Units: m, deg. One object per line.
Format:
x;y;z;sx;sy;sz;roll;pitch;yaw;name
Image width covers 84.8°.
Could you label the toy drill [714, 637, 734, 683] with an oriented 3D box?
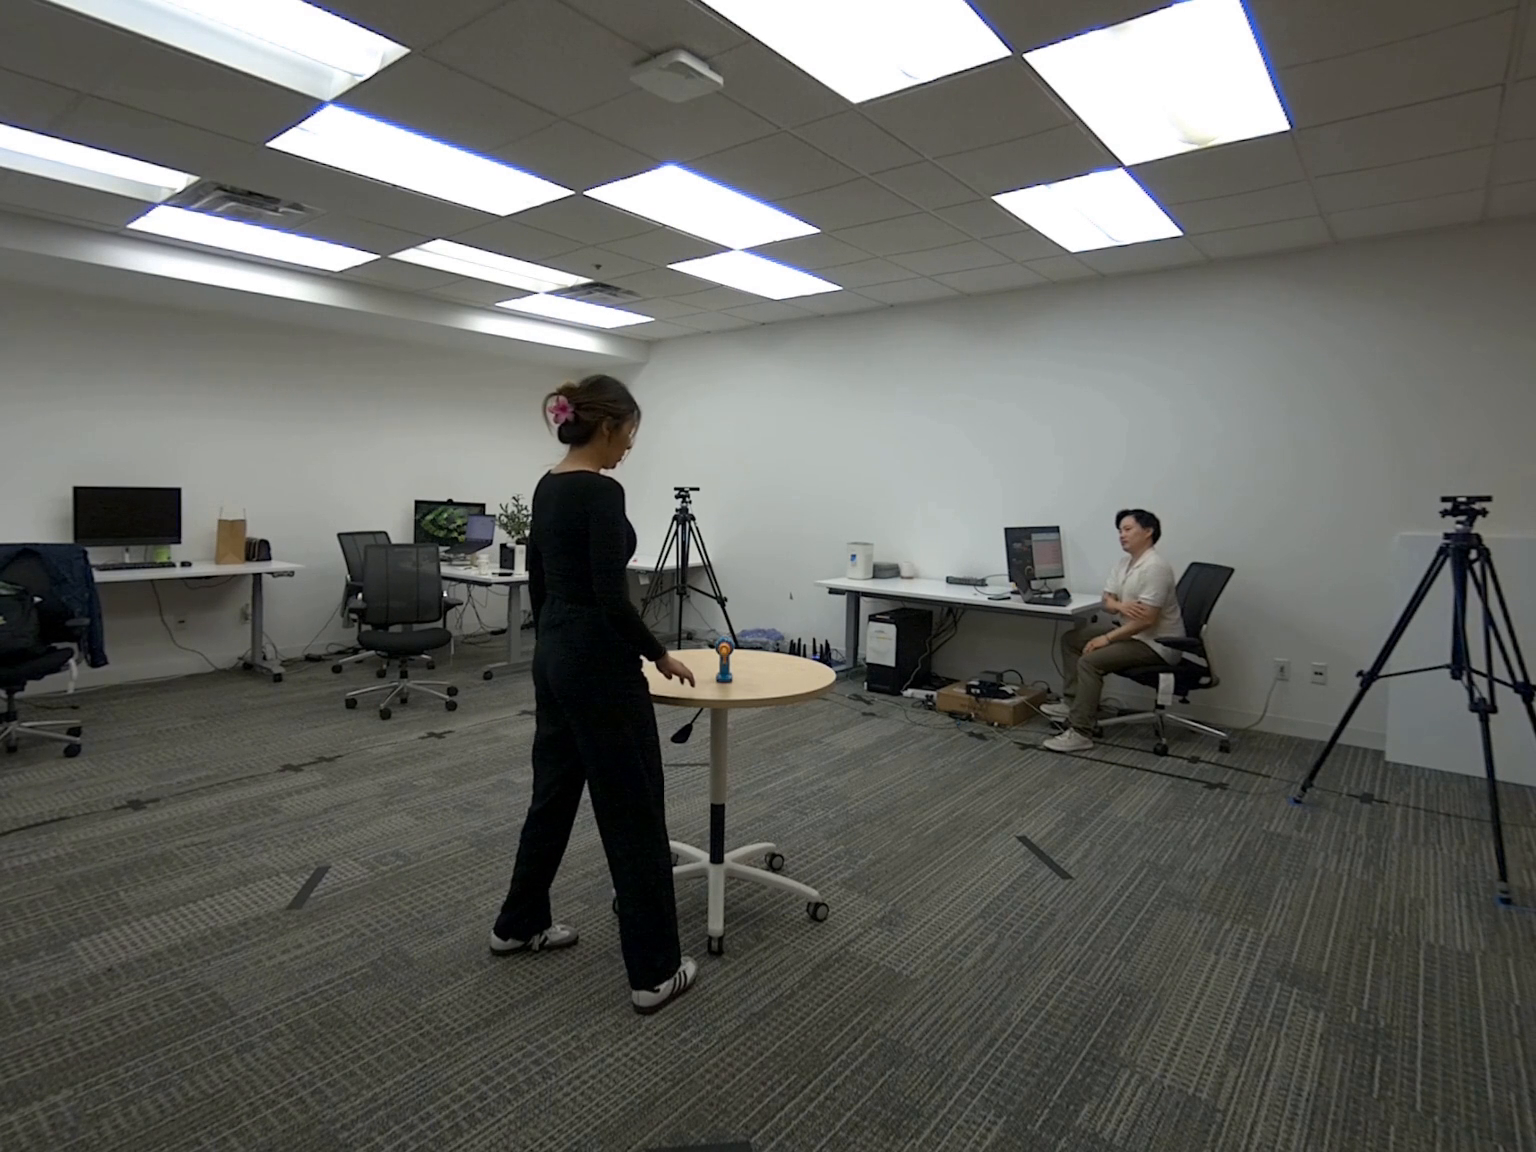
-0.140;0.258;2.633;0.061;0.146;0.171;-1;3;-6;toy drill
